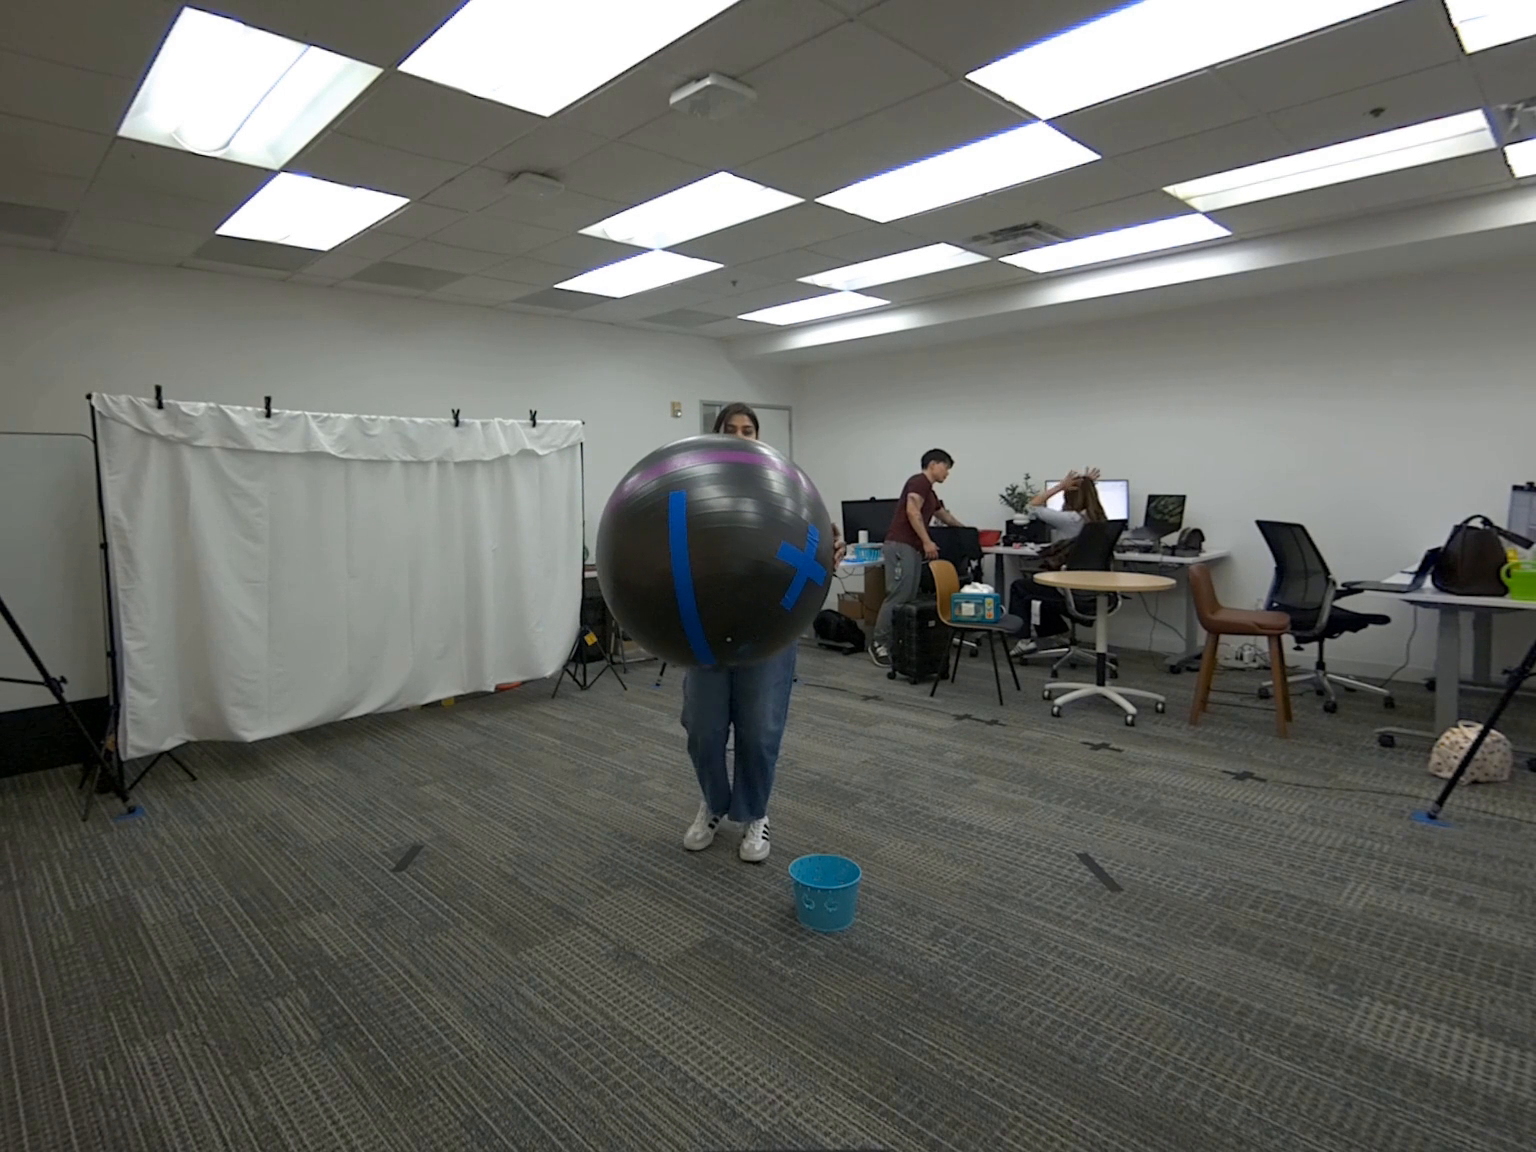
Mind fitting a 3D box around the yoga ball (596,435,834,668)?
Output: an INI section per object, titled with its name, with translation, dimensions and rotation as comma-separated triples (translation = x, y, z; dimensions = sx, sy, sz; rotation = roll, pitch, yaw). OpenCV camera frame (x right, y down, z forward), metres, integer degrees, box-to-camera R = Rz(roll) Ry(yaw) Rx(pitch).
[yoga ball]
translation = -0.179, -0.066, 2.731
dimensions = 0.757, 0.755, 0.762
rotation = -1, 5, -2
